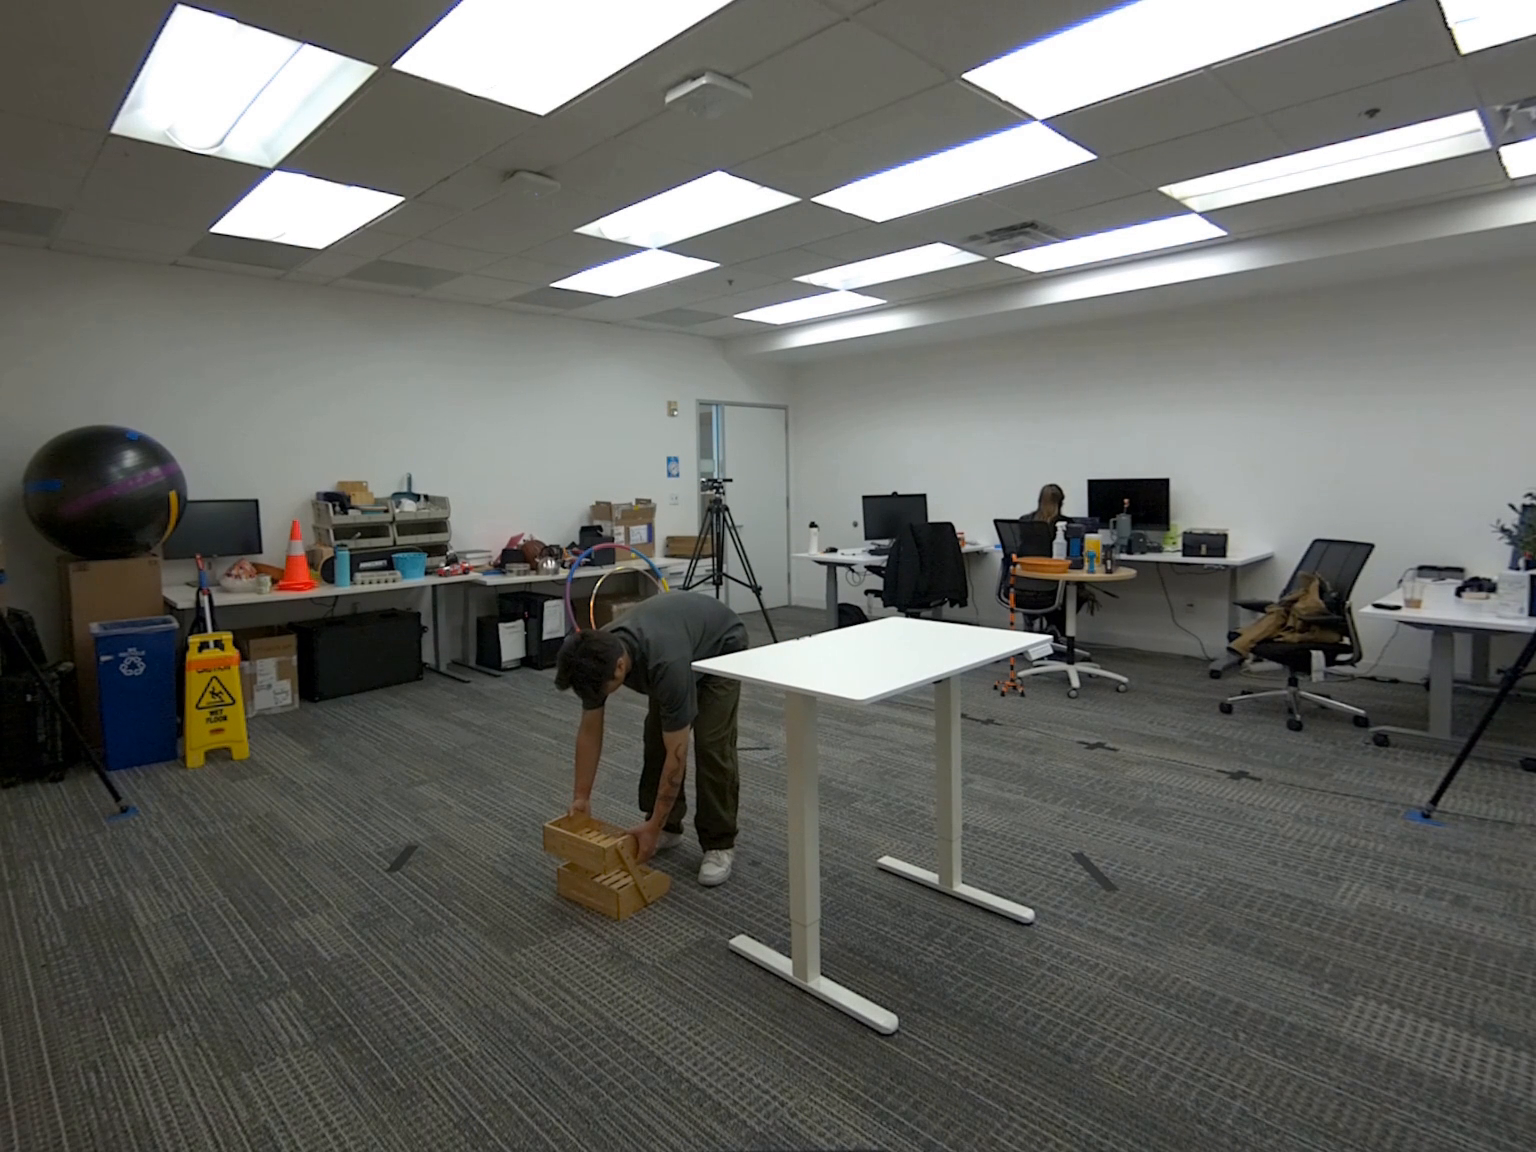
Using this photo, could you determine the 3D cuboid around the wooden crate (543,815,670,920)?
[{"bbox_3d":[-0.537,0.947,2.878,0.334,0.272,0.295,4,8,38],"label":"wooden crate"}]
